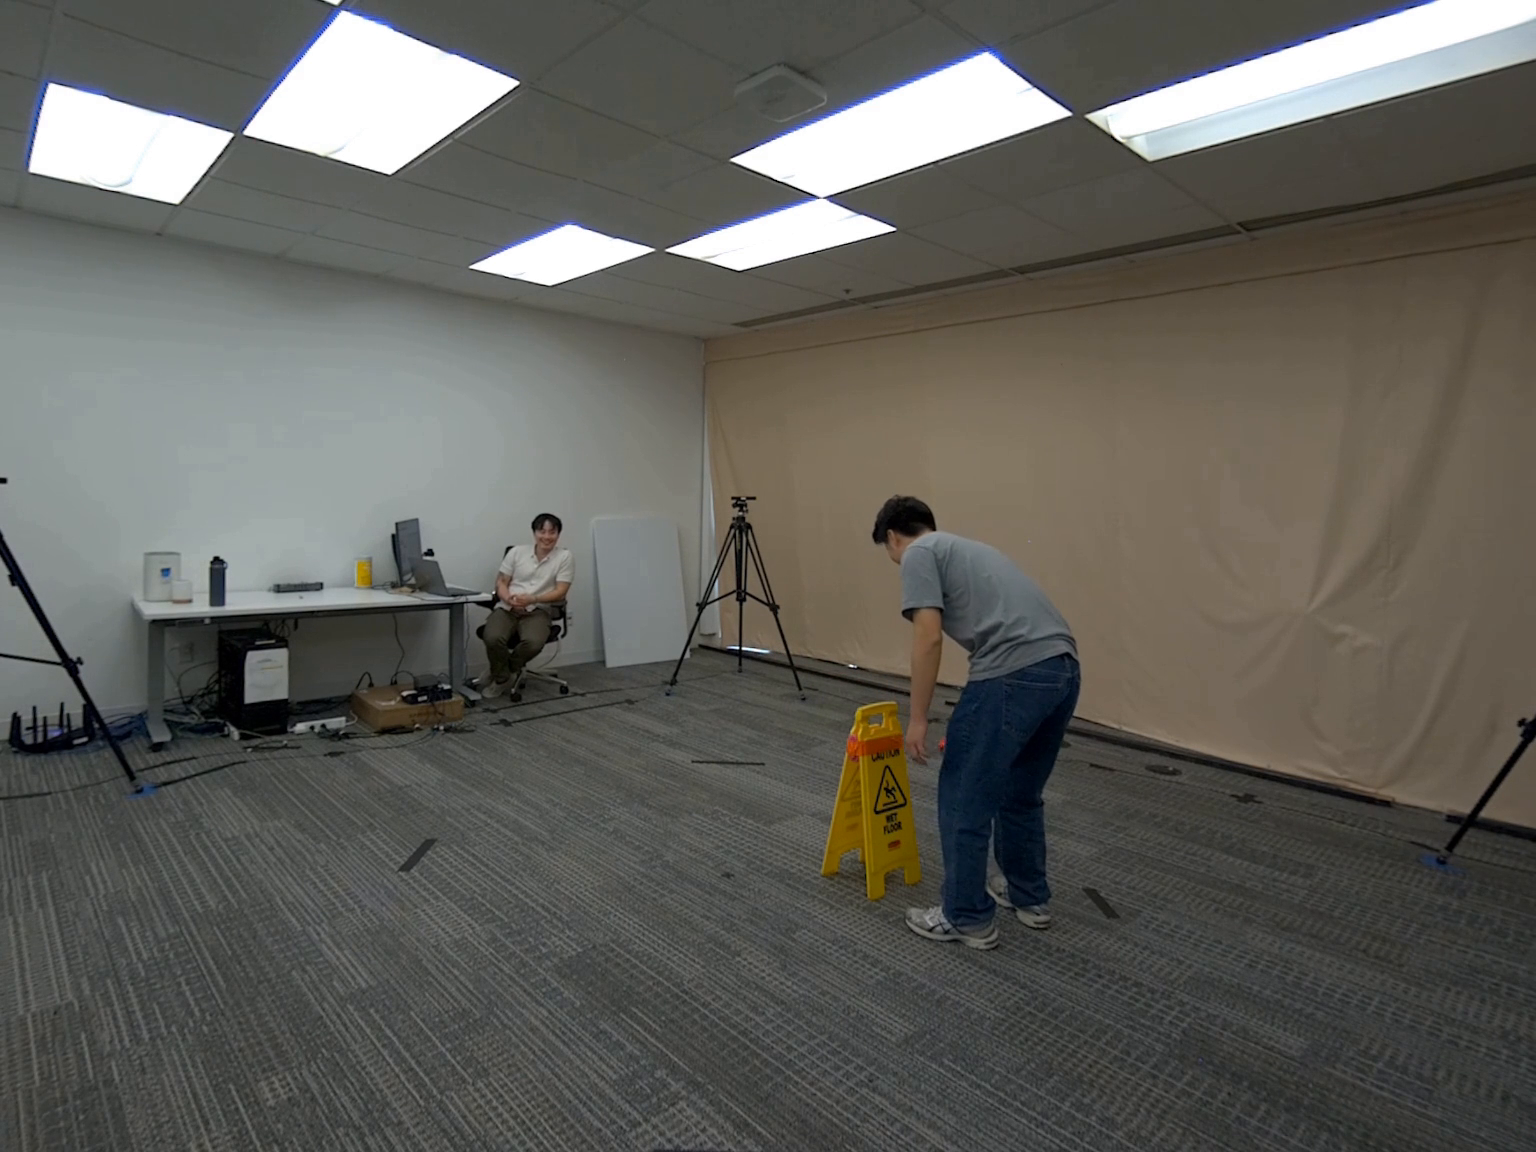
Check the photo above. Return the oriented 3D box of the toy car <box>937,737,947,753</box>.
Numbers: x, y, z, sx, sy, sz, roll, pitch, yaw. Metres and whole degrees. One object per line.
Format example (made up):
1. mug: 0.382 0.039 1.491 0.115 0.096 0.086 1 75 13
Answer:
1. toy car: 0.762 0.651 3.096 0.259 0.083 0.128 -4 3 27
